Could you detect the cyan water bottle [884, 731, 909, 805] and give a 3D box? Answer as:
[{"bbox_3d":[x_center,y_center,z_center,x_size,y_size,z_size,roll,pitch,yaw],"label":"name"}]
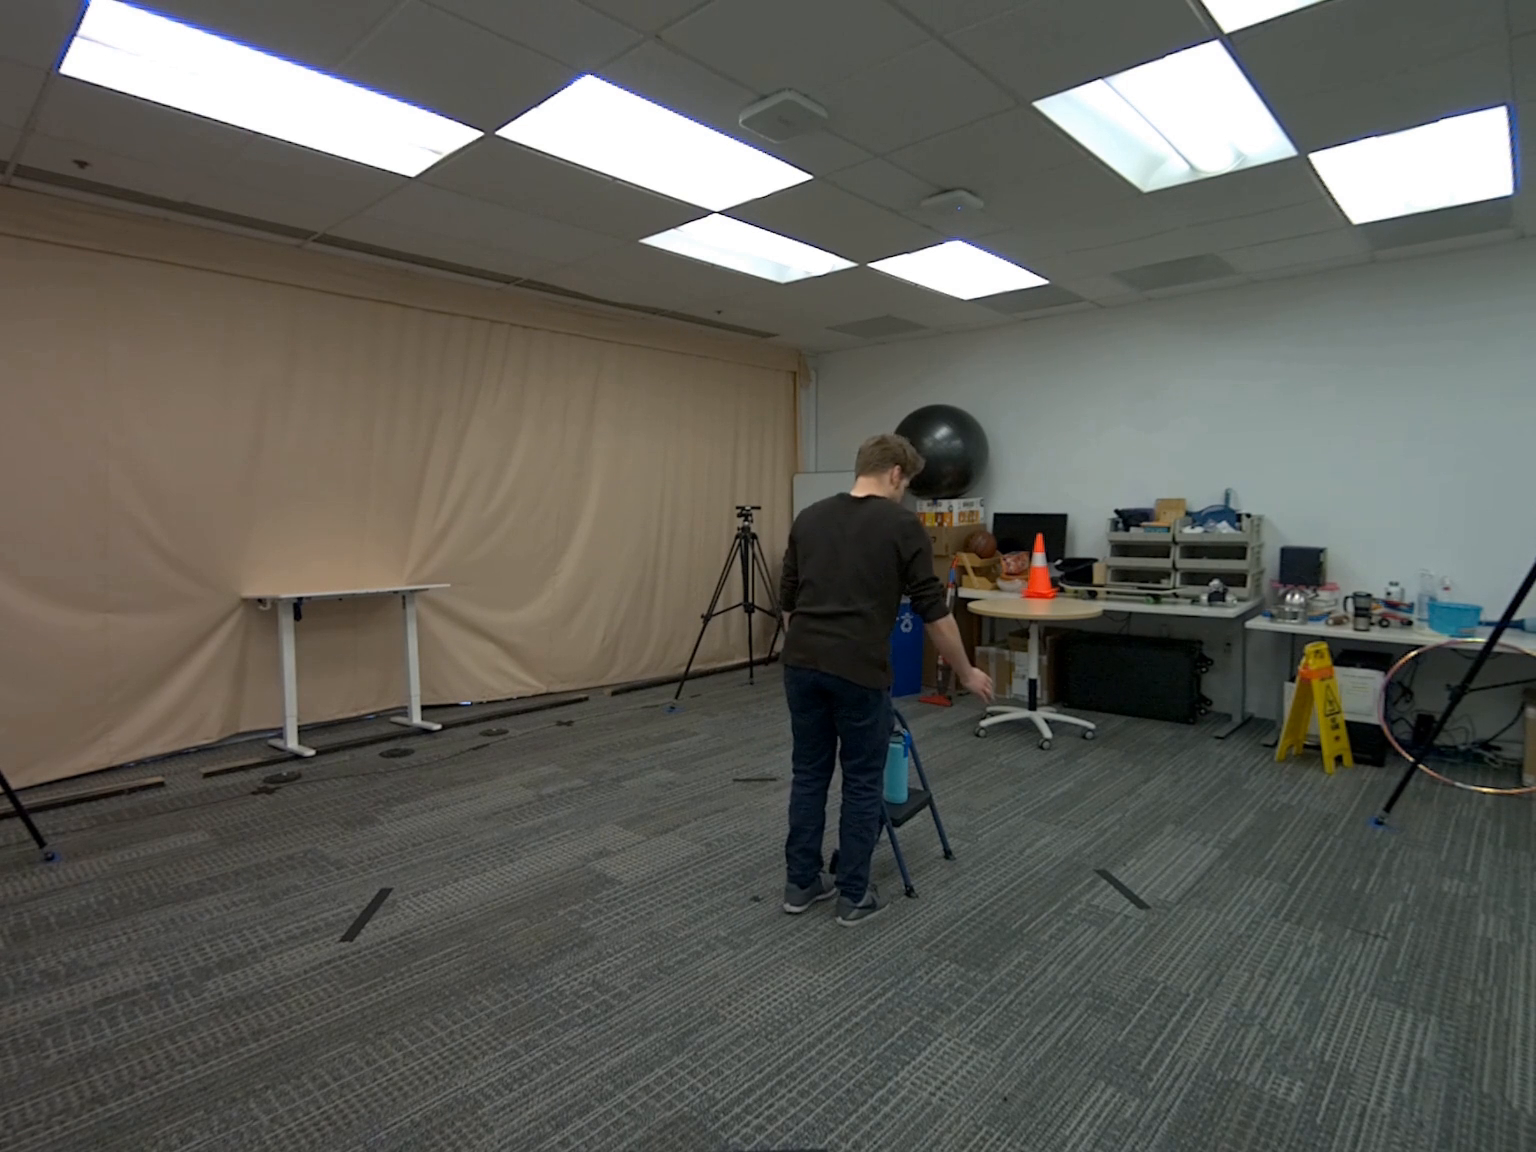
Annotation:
[{"bbox_3d":[0.501,0.721,3.234,0.092,0.283,0.093,1,4,-2],"label":"cyan water bottle"}]
